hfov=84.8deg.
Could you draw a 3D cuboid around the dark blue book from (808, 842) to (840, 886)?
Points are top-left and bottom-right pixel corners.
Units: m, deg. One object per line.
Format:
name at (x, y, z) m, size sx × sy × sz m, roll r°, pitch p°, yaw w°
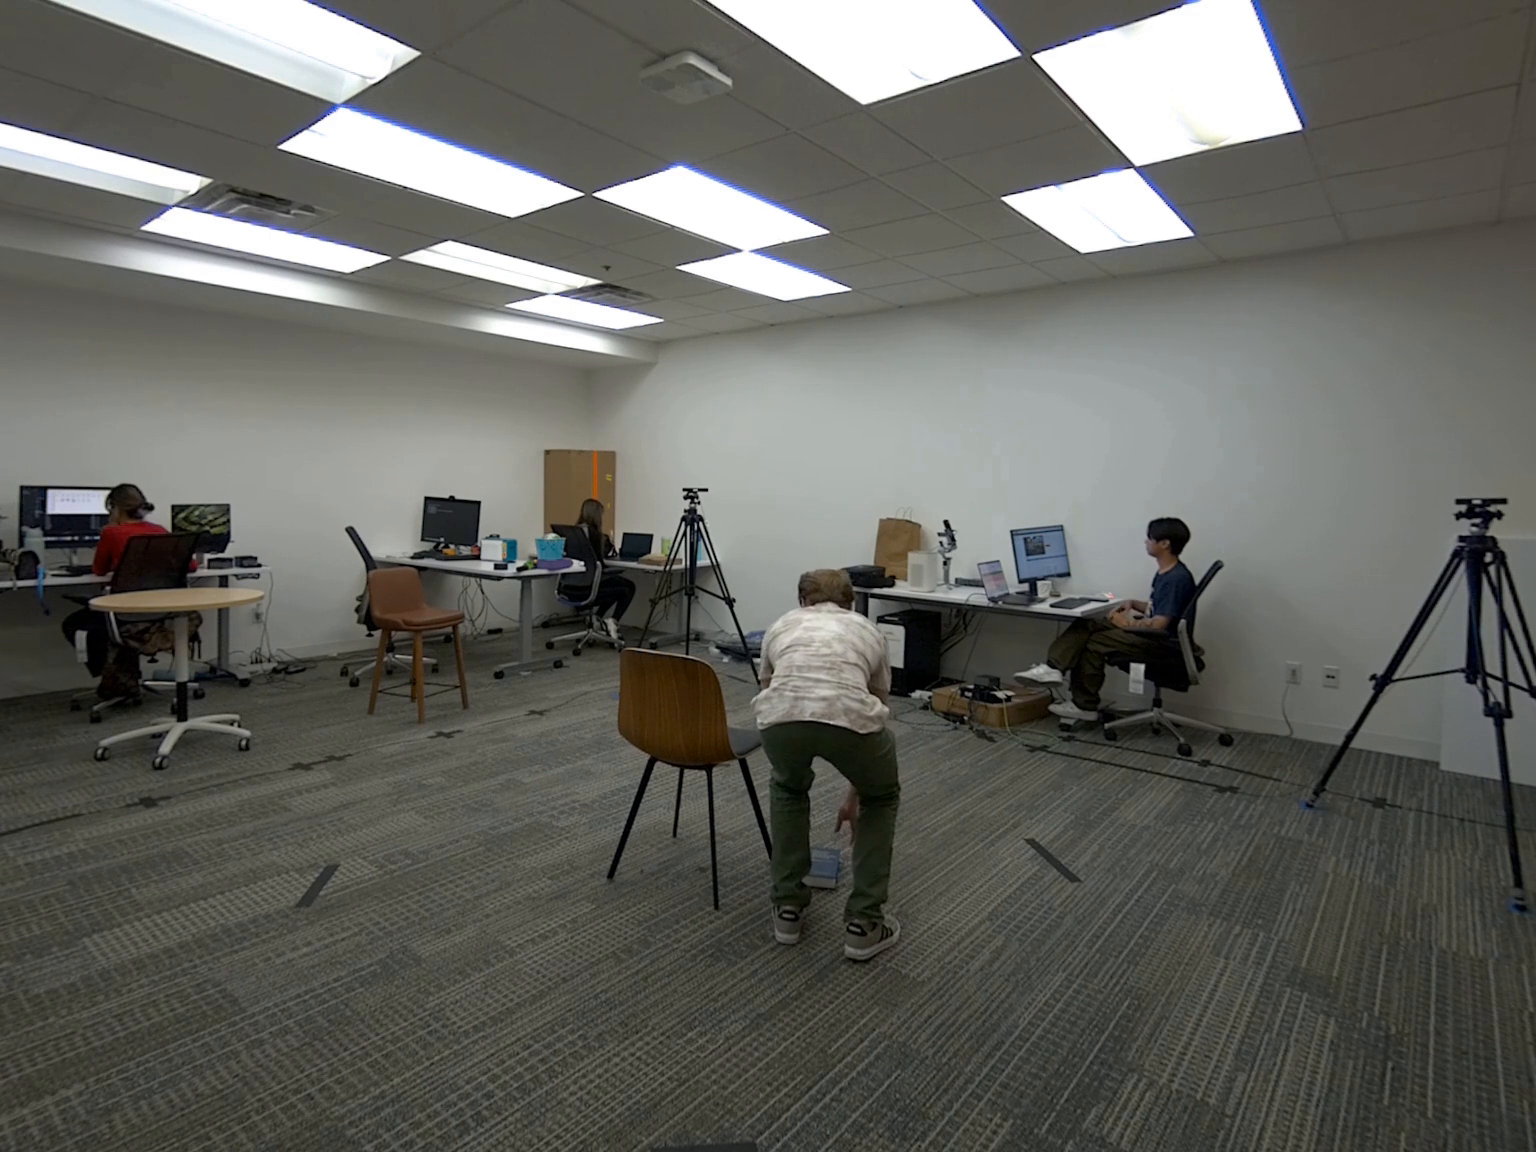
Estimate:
dark blue book at (0.171, 1.053, 3.096) m, size 0.165 × 0.045 × 0.243 m, roll 3°, pitch 5°, yaw 10°
